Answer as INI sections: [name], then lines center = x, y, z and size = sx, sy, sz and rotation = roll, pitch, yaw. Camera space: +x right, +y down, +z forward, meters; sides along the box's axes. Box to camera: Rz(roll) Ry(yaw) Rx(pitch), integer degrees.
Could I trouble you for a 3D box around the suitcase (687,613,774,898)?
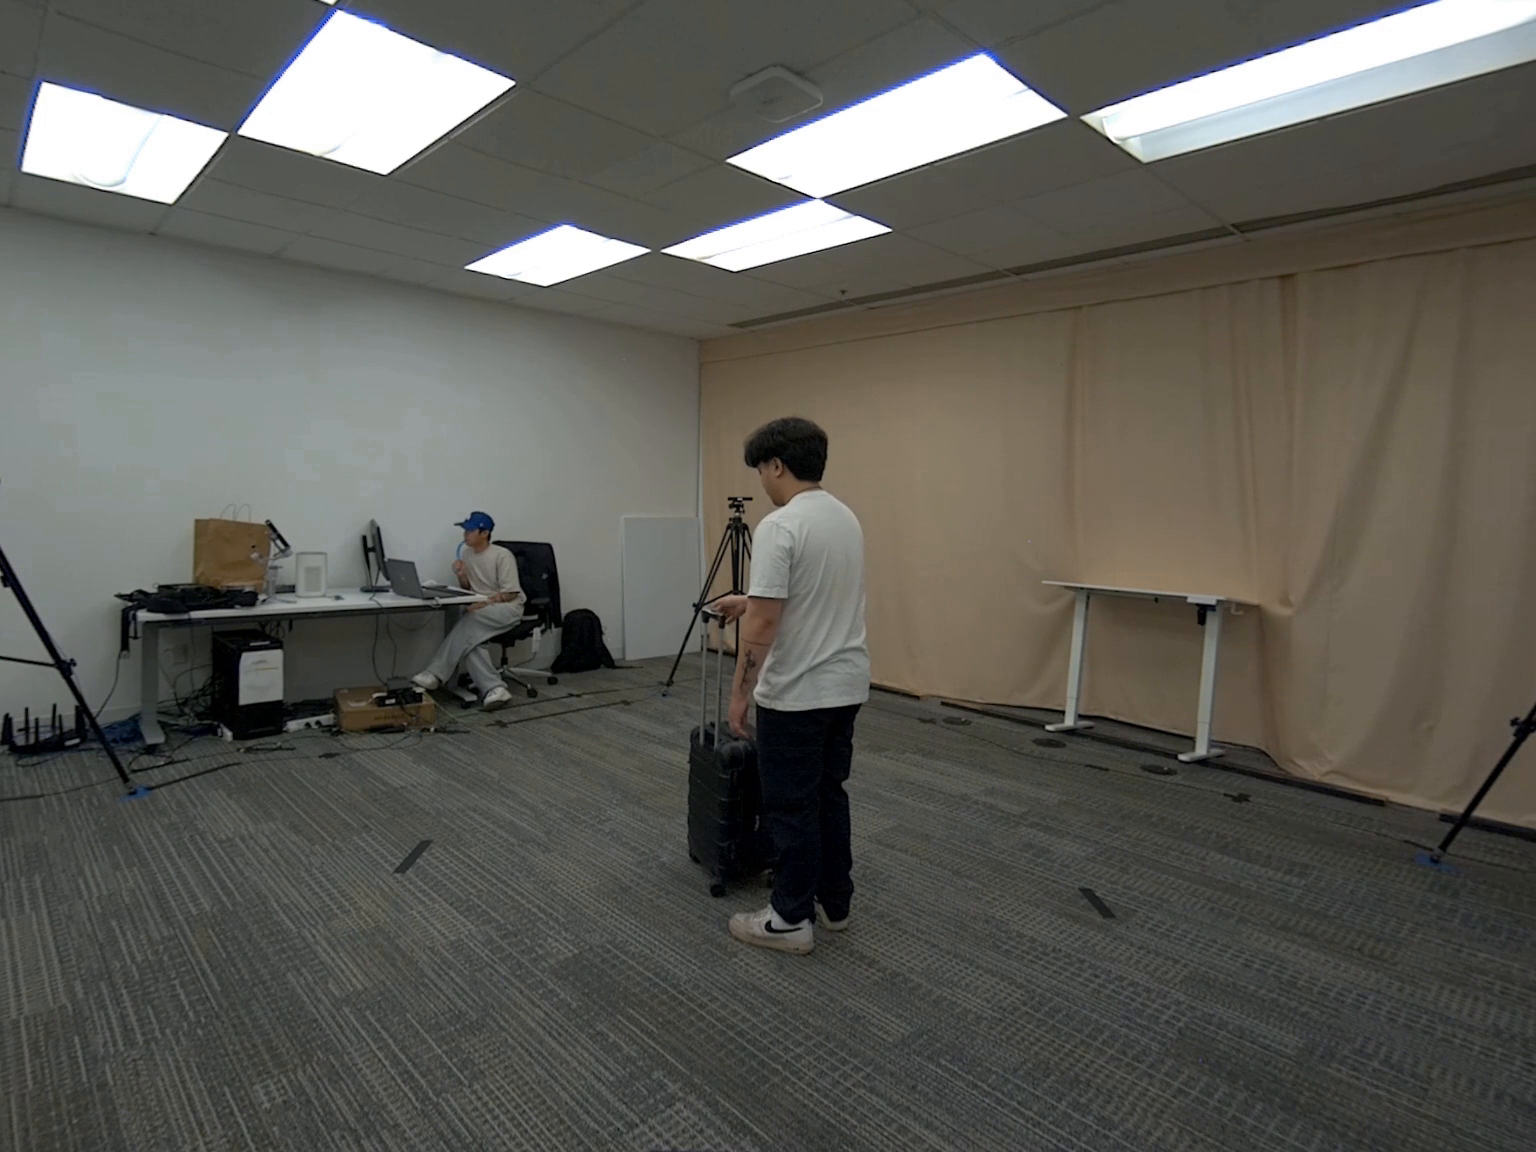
[suitcase]
center = -0.127, 0.635, 3.107
size = 0.253, 0.976, 0.391
rotation = 2, 4, -22
